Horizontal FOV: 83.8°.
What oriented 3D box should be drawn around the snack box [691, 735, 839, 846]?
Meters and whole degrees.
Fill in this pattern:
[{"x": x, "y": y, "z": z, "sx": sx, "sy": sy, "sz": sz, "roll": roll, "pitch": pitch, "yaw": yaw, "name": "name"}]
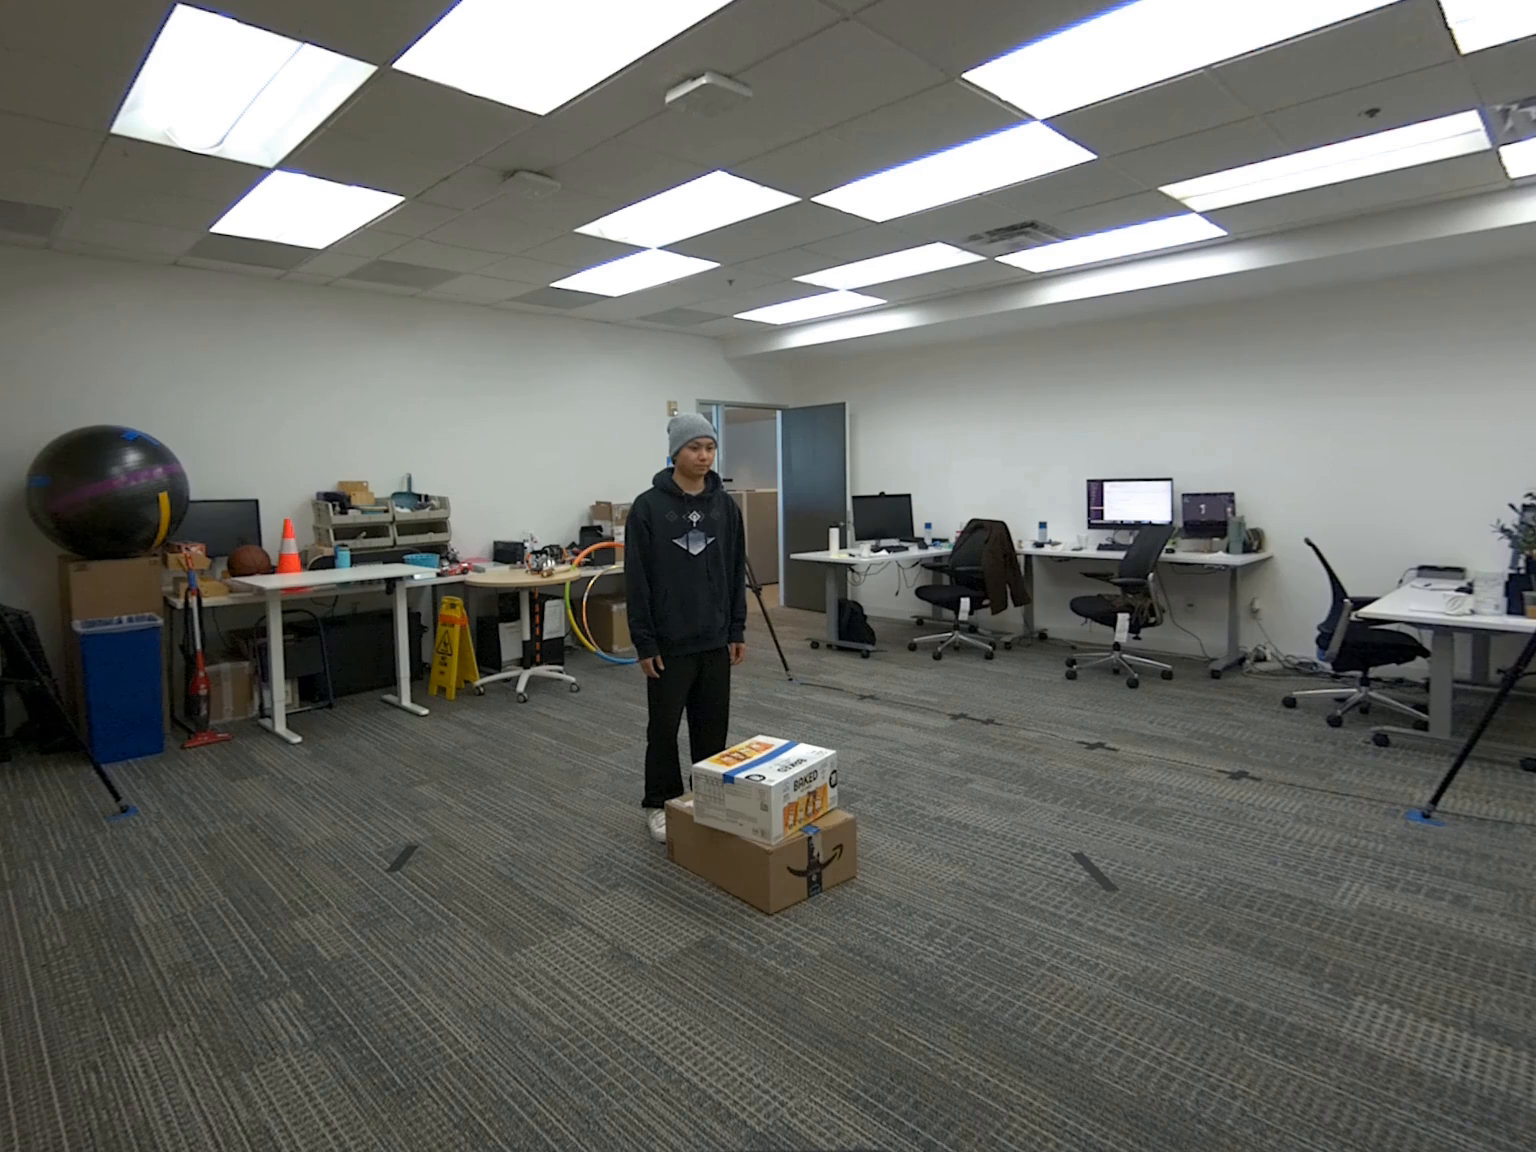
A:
[{"x": -0.004, "y": 0.738, "z": 2.993, "sx": 0.350, "sy": 0.205, "sz": 0.395, "roll": 3, "pitch": 8, "yaw": 37, "name": "snack box"}]
